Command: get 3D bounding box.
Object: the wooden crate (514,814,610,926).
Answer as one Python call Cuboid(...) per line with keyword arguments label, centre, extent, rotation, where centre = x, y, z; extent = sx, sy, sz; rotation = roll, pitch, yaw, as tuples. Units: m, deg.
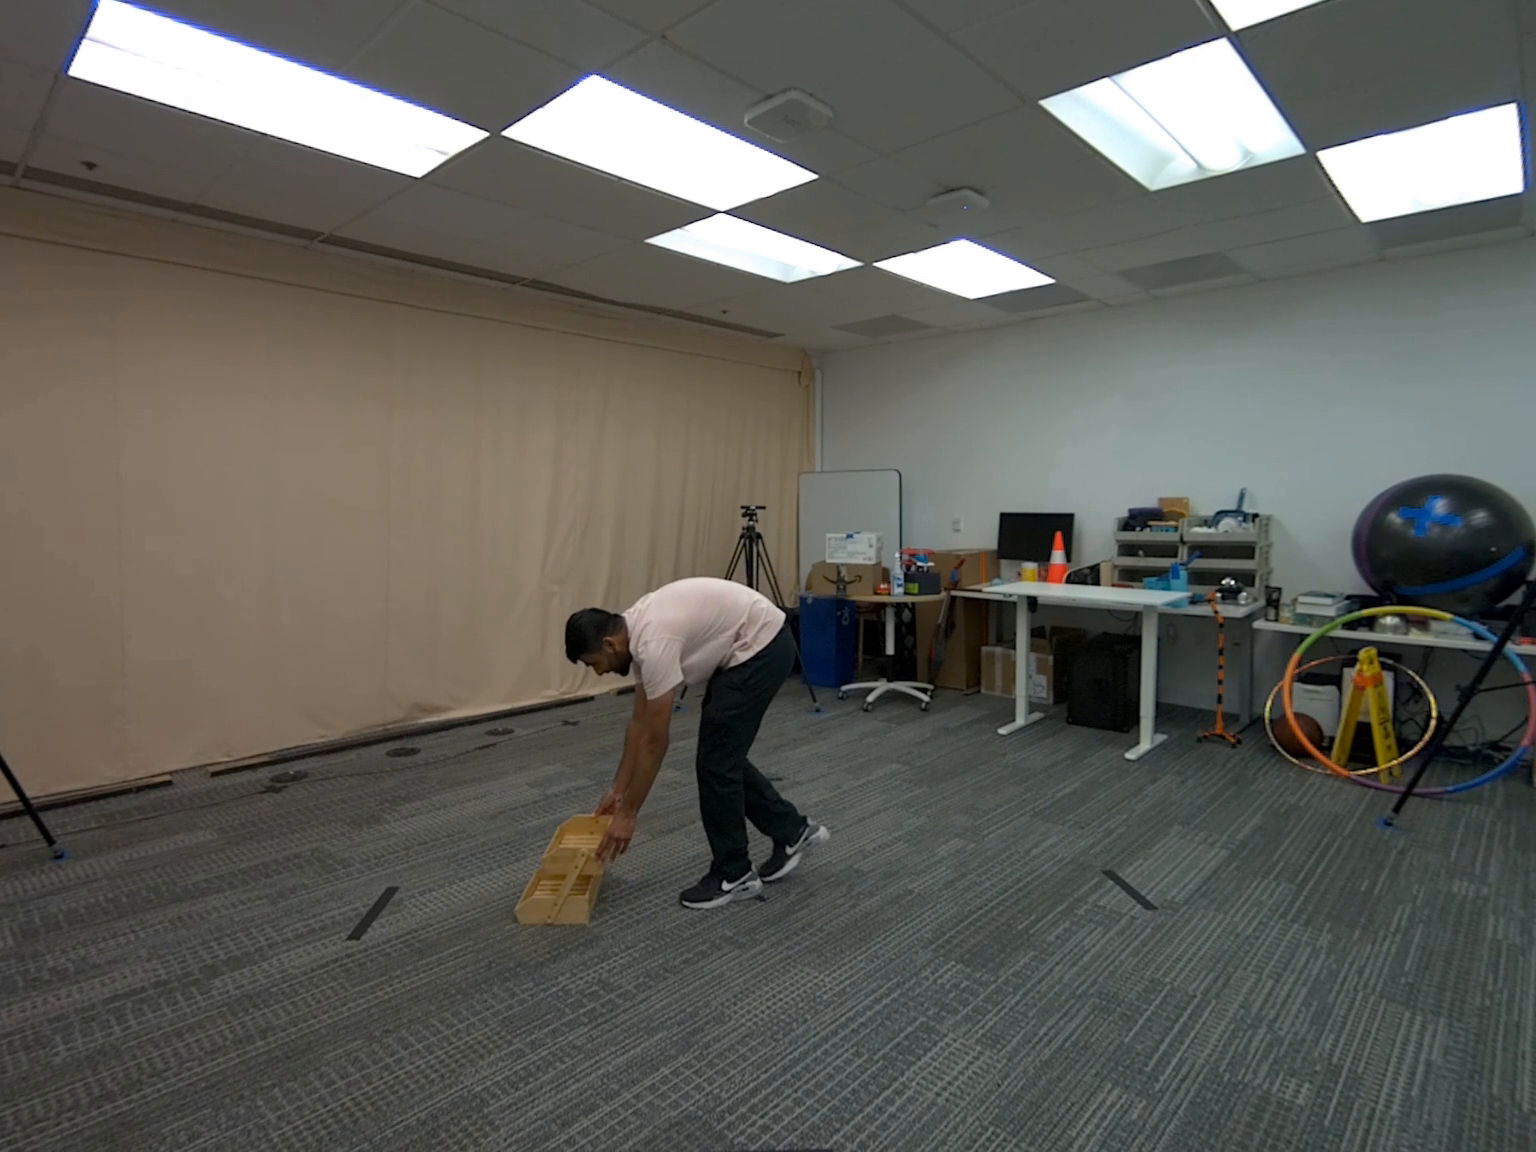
Cuboid(label="wooden crate", centre=(-0.712, 1.022, 2.950), extent=(0.301, 0.273, 0.326), rotation=(-2, 4, -3))
